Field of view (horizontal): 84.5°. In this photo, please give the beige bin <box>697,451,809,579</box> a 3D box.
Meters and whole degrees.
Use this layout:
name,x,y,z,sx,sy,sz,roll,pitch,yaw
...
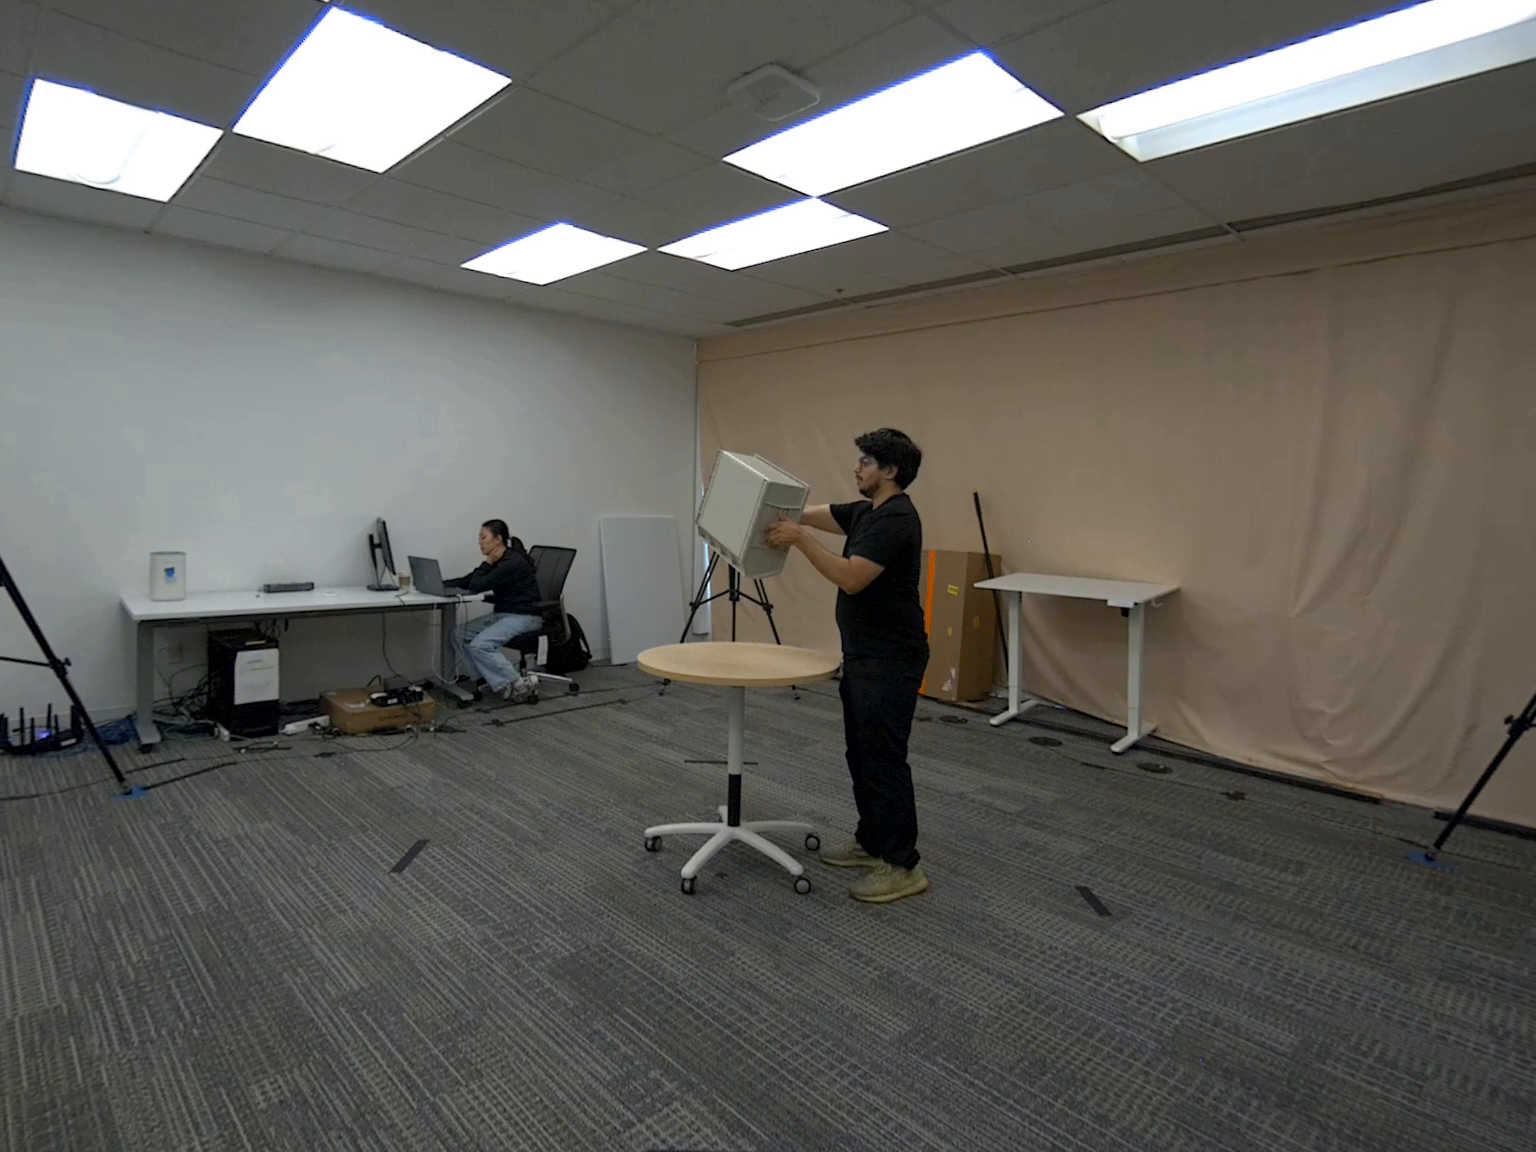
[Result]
name,x,y,z,sx,sy,sz,roll,pitch,yaw
beige bin,-0.083,-0.239,3.186,0.184,0.375,0.435,8,18,-33
